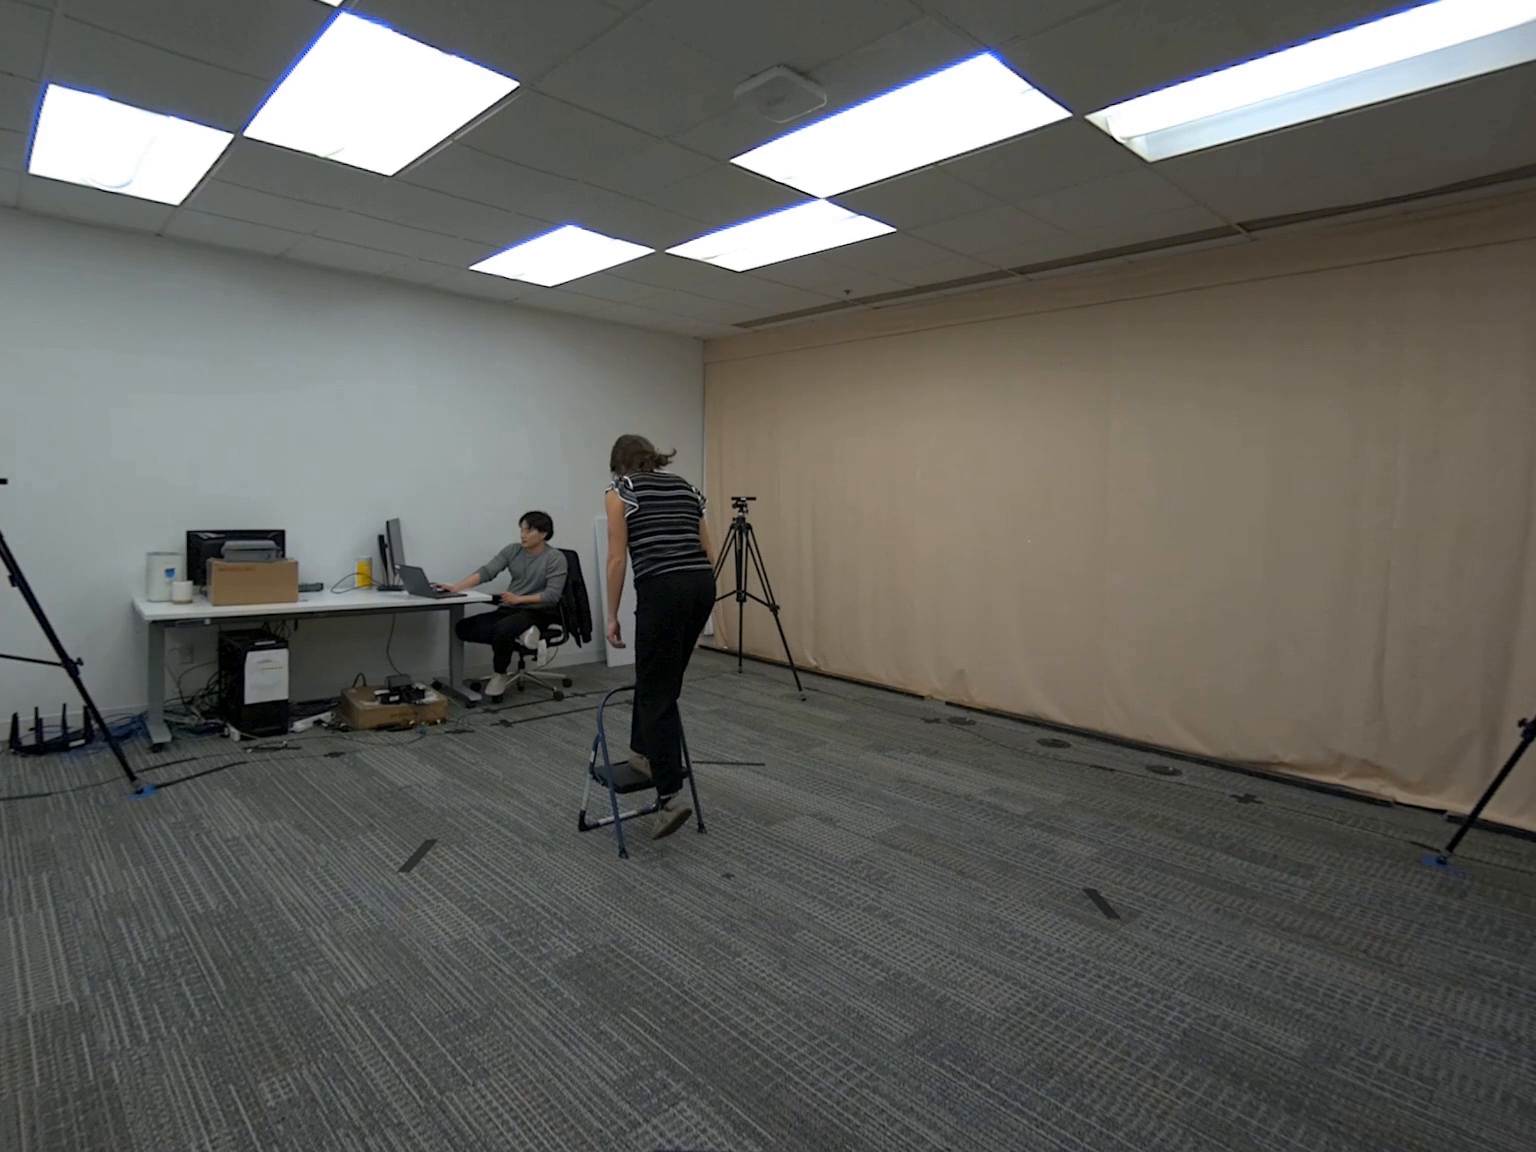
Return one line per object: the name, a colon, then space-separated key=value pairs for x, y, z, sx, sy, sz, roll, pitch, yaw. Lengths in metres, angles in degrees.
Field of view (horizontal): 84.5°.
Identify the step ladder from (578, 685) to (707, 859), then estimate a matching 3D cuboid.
step ladder: x=-0.523 y=0.763 z=3.487 sx=0.421 sy=0.605 sz=0.358 roll=-2 pitch=5 yaw=-44
